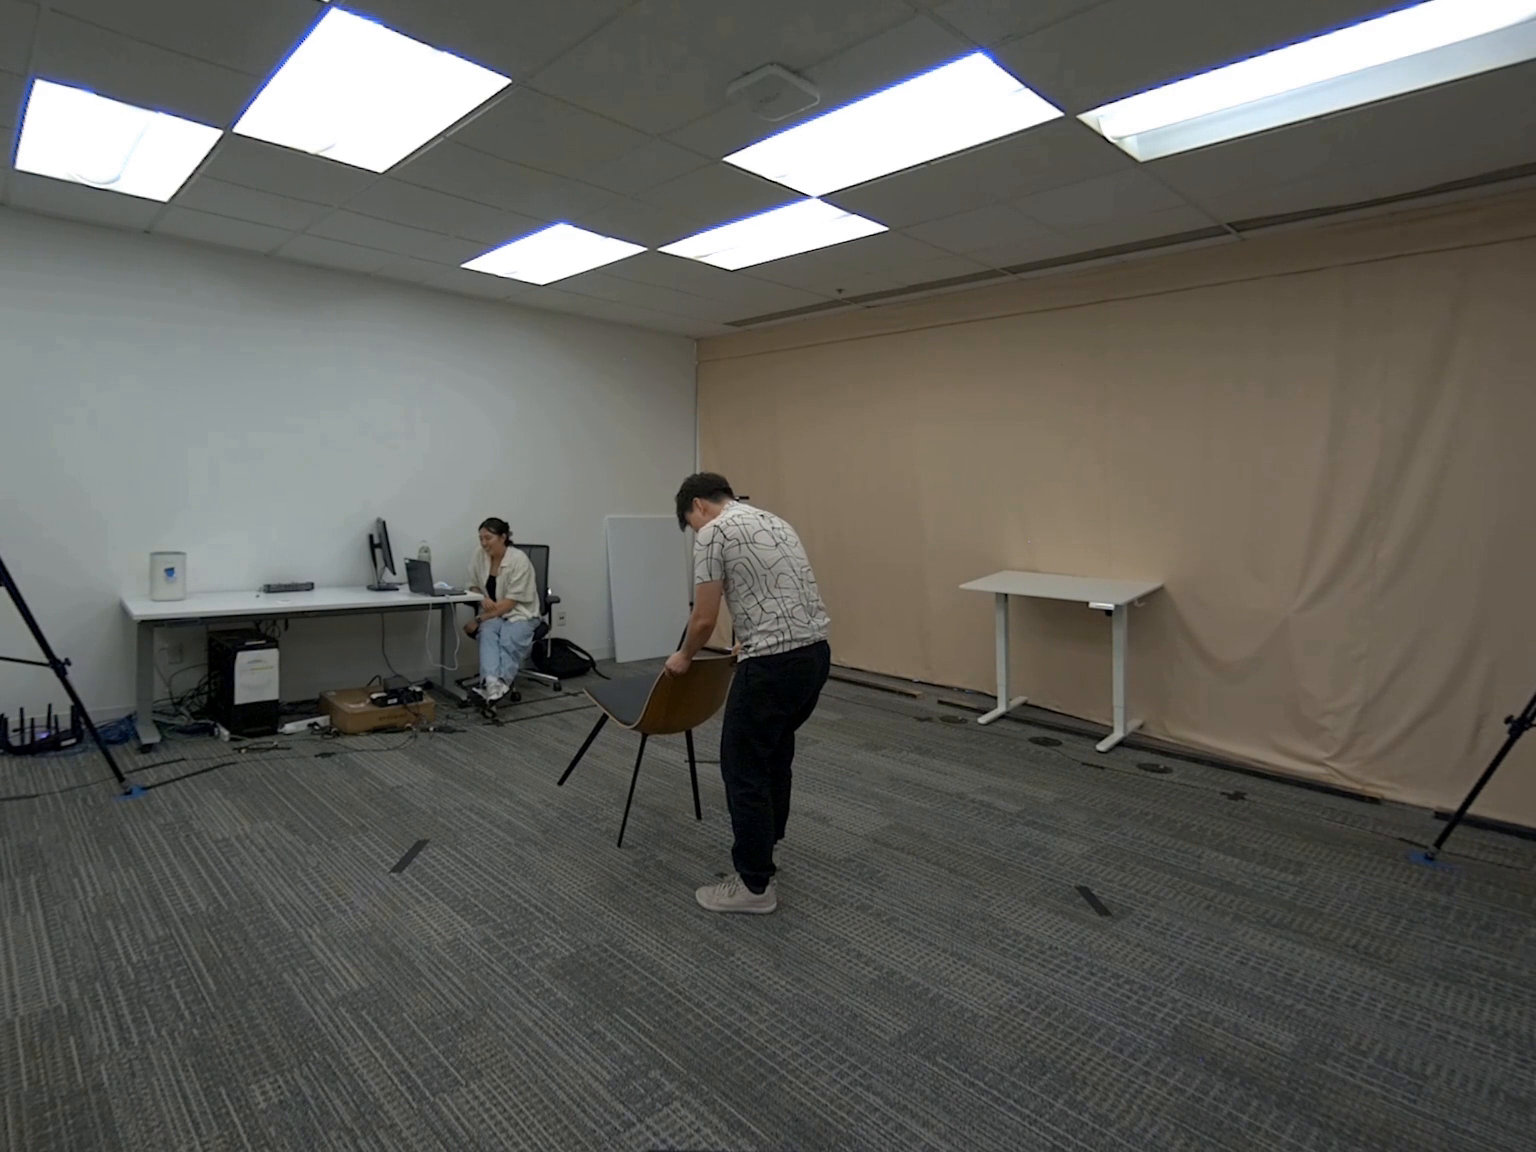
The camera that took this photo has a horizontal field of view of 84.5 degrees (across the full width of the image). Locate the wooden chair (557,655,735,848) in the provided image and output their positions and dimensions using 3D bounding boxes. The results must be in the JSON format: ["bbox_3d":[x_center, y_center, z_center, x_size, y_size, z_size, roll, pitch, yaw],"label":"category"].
[{"bbox_3d":[-0.496,0.582,3.515,0.467,0.870,0.540,-2,28,-46],"label":"wooden chair"}]
